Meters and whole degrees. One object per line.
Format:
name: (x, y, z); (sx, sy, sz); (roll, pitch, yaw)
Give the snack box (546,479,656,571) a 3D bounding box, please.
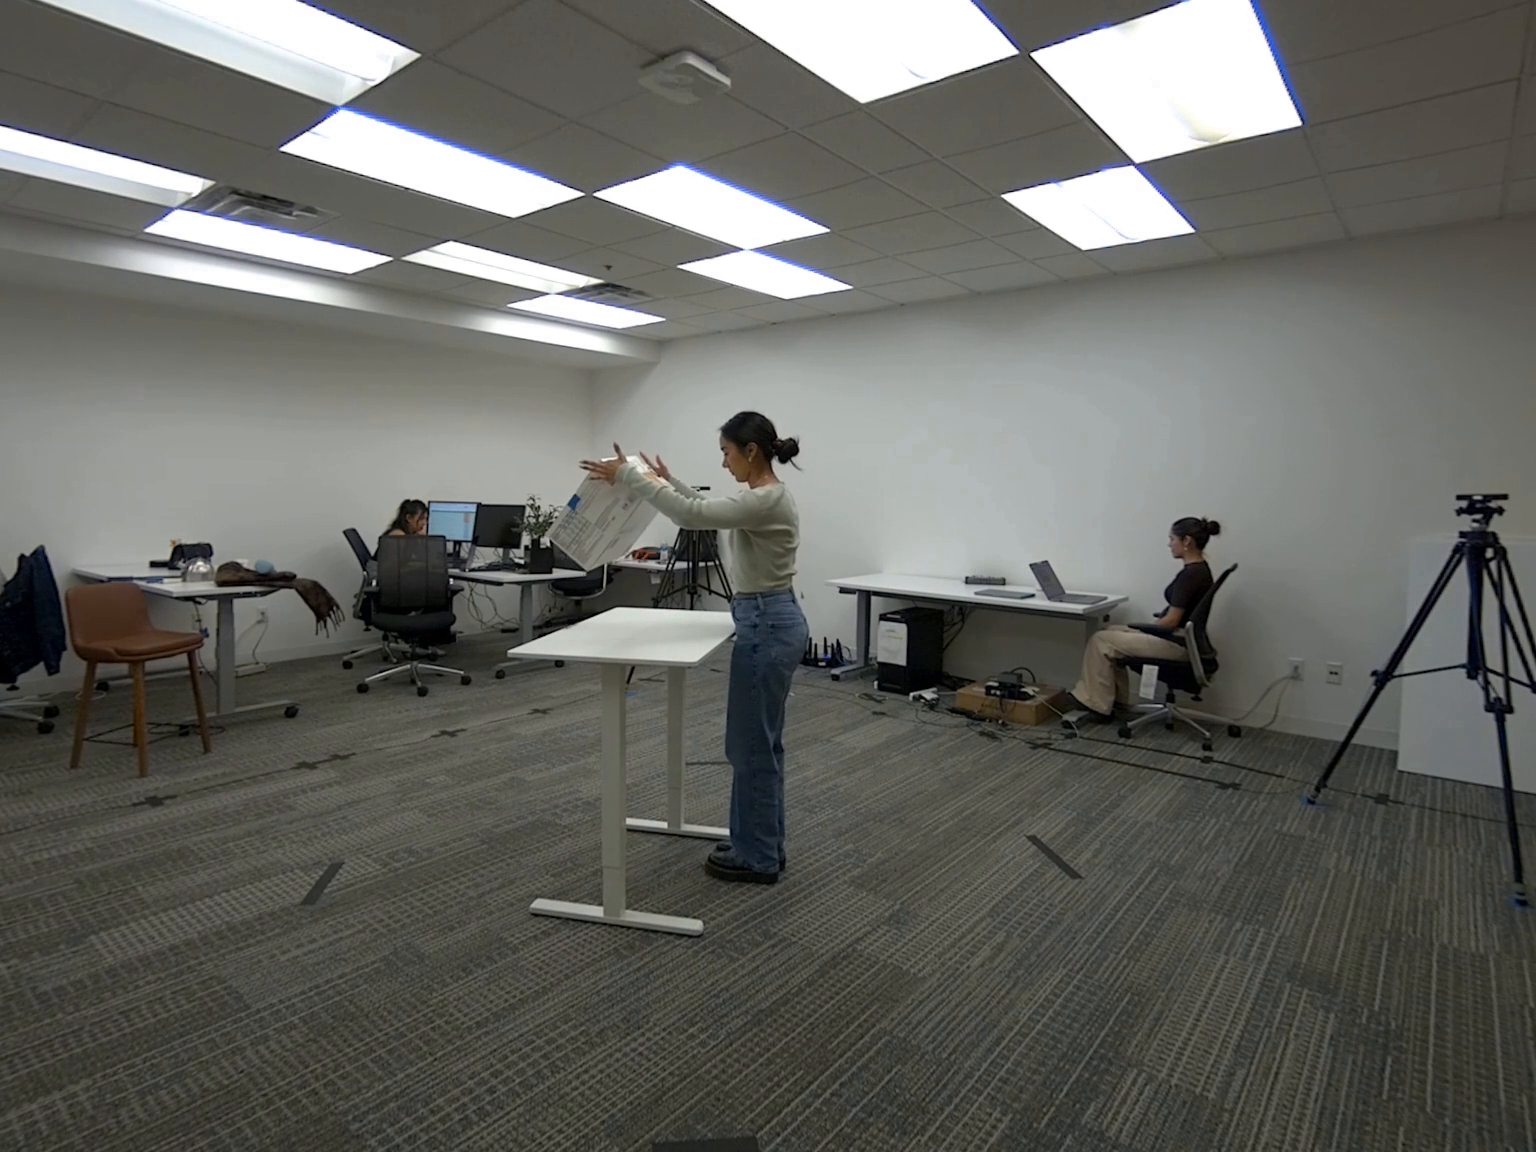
snack box: (-0.572, -0.236, 3.097); (0.207, 0.340, 0.404); (39, 14, 2)
